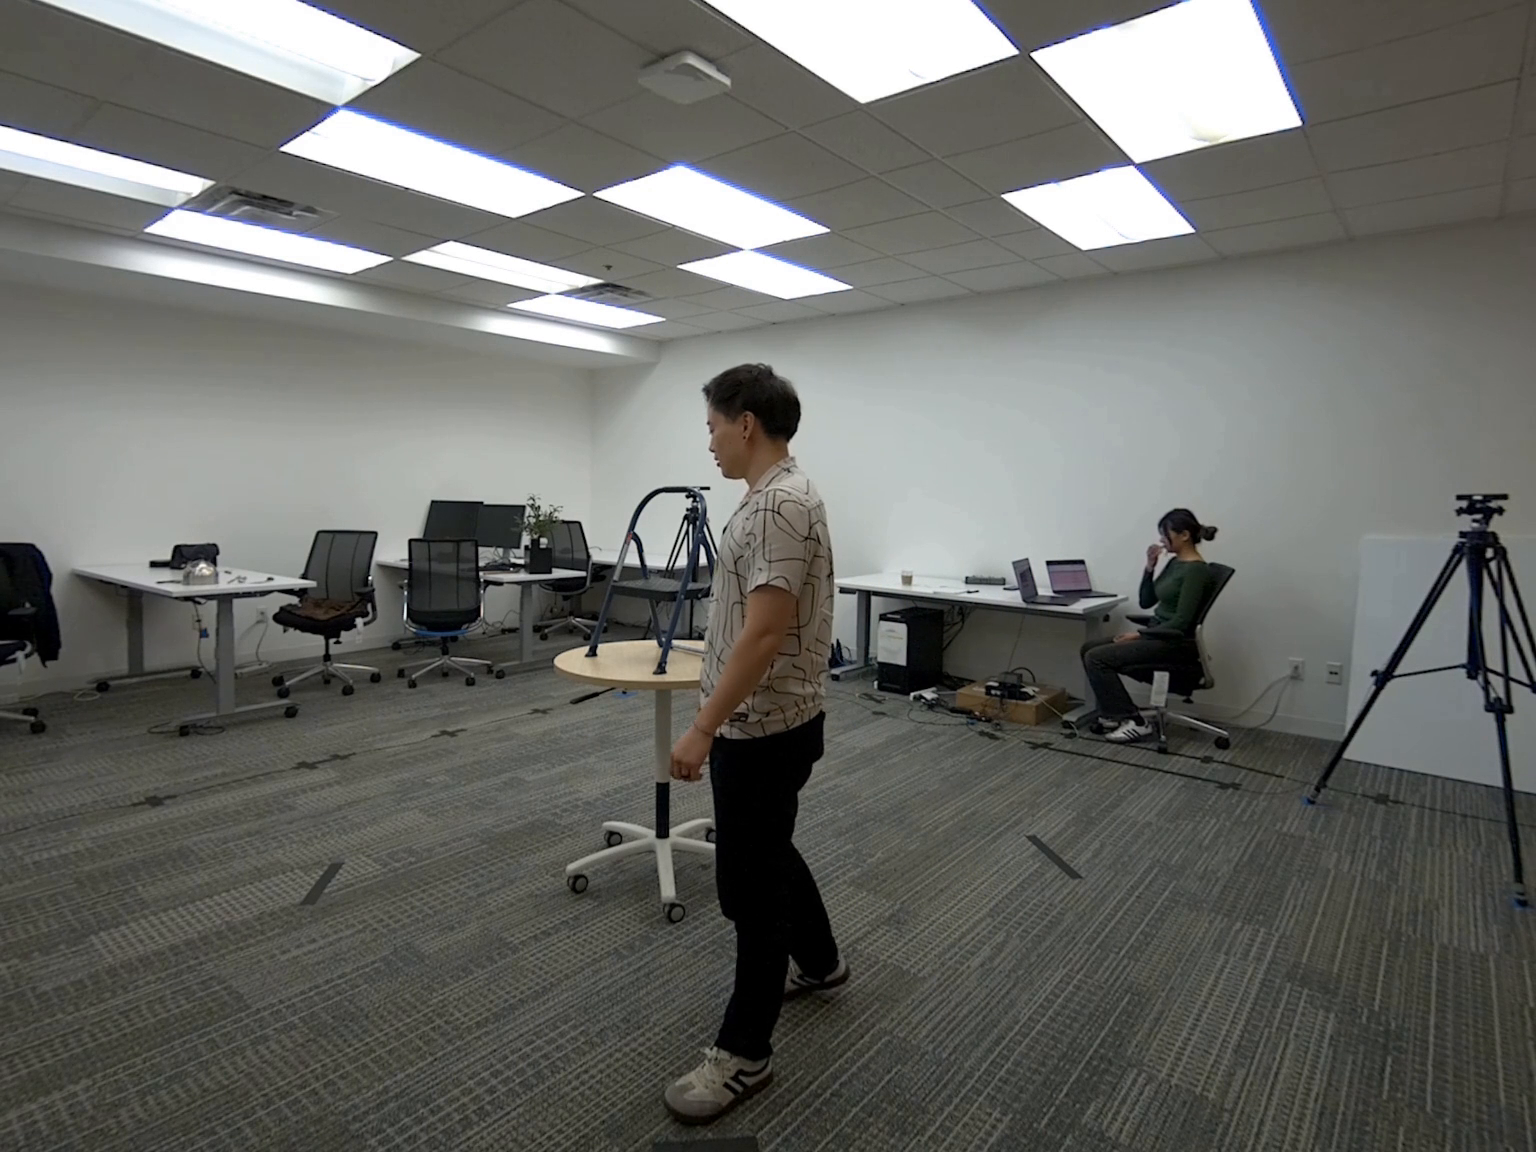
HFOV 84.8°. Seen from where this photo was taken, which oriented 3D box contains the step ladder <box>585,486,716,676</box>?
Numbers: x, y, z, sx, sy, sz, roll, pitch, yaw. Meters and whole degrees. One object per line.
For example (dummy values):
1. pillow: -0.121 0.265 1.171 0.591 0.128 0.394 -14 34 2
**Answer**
1. step ladder: -0.392 -0.011 2.984 0.339 0.604 0.445 -4 5 -45
